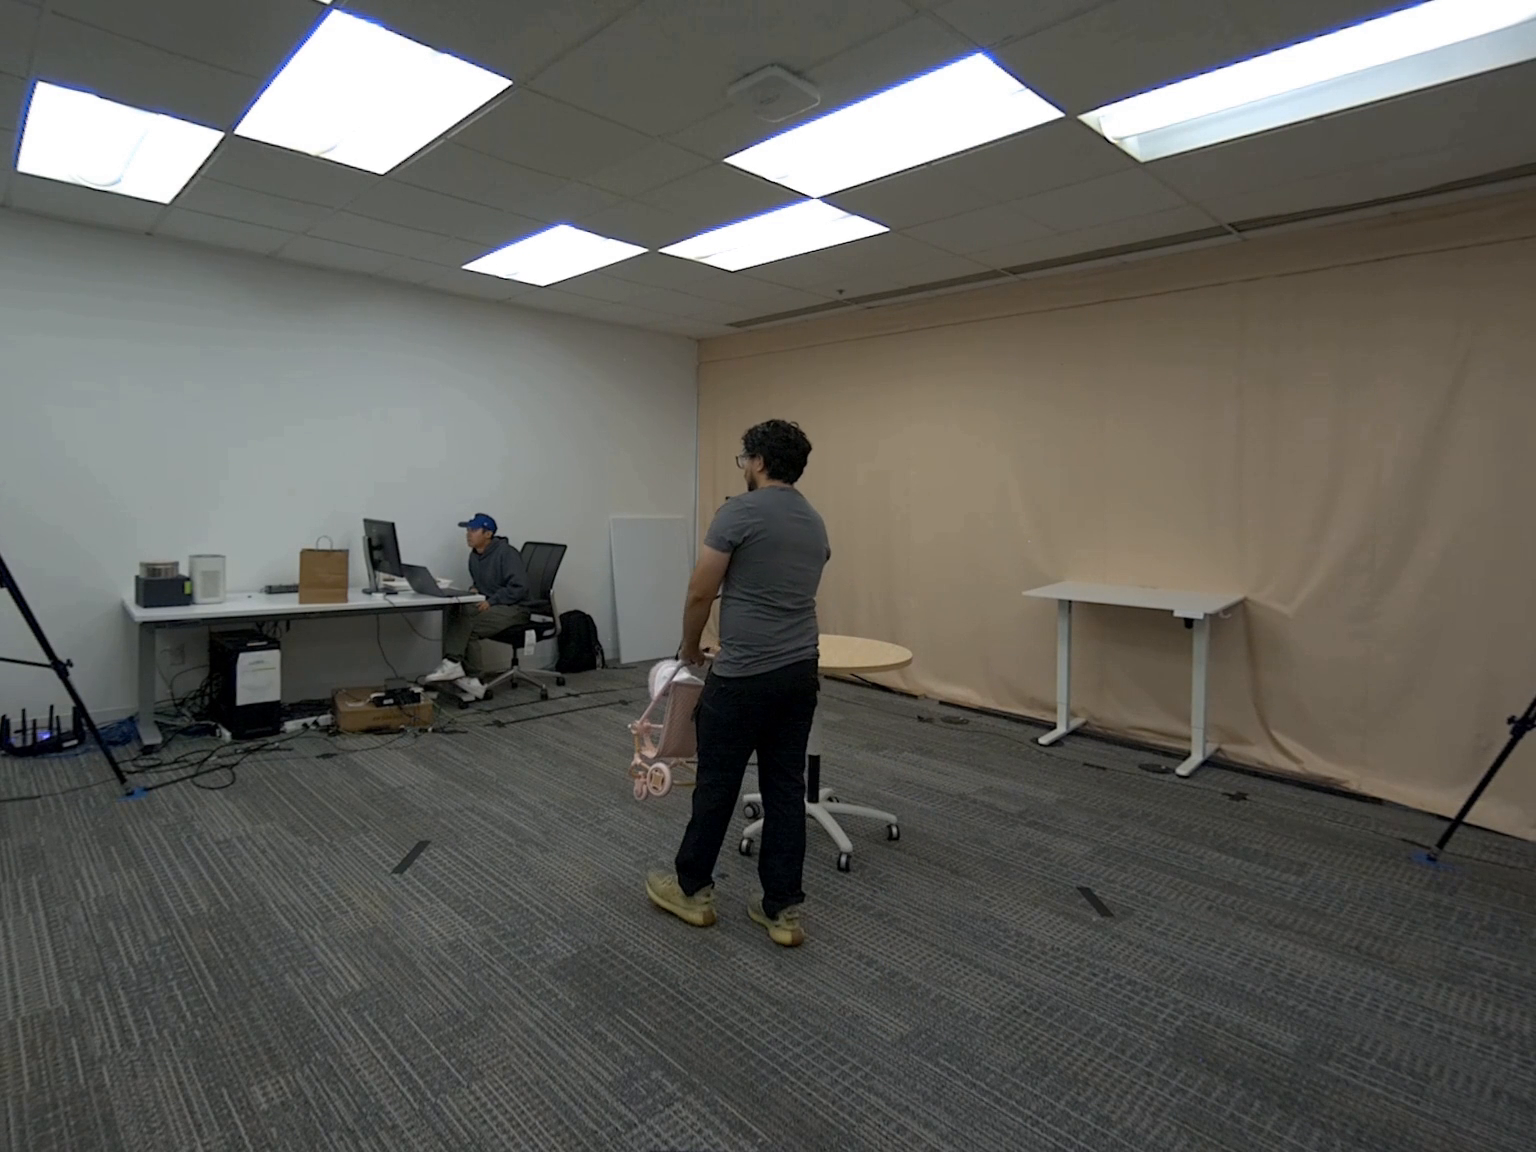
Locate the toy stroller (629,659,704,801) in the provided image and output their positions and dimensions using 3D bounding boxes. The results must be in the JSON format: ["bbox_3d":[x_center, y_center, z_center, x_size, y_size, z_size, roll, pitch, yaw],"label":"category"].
[{"bbox_3d":[-0.339,0.541,2.949,0.274,0.538,0.349,12,-10,-41],"label":"toy stroller"}]
